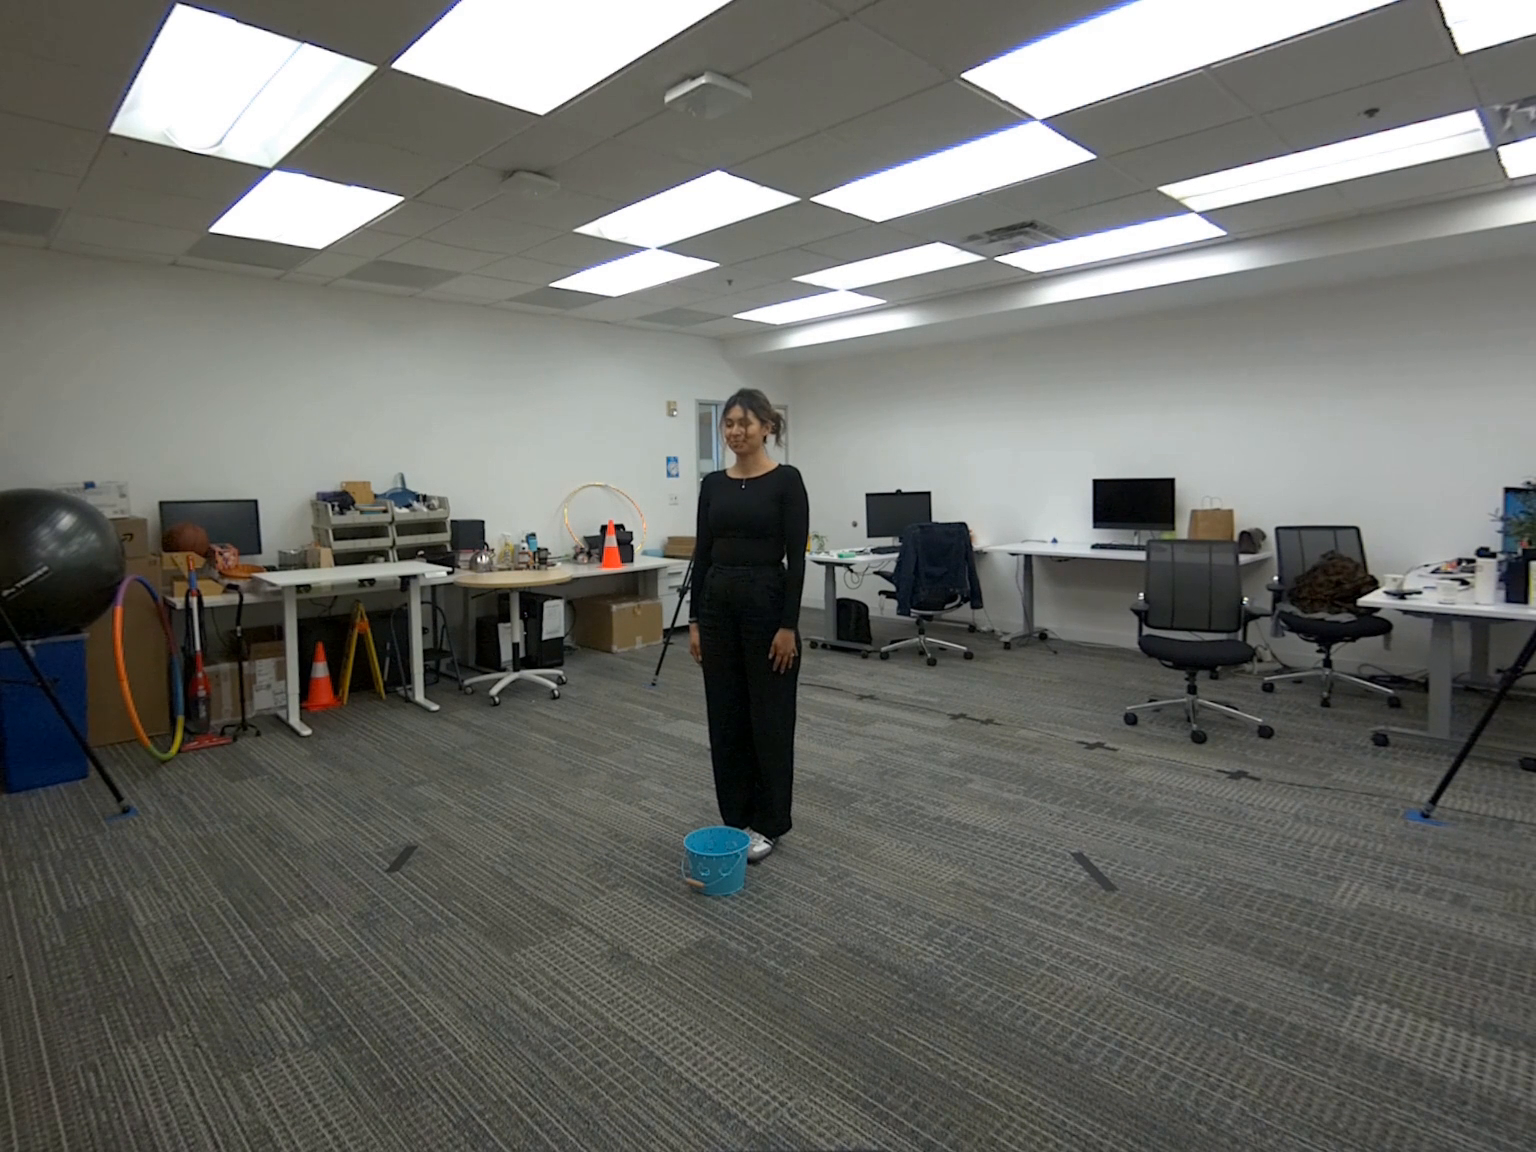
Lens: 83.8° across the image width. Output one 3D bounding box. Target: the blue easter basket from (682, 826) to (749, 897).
[{"bbox_3d":[-0.178,0.986,2.955,0.243,0.155,0.245,-1,6,-2],"label":"blue easter basket"}]
